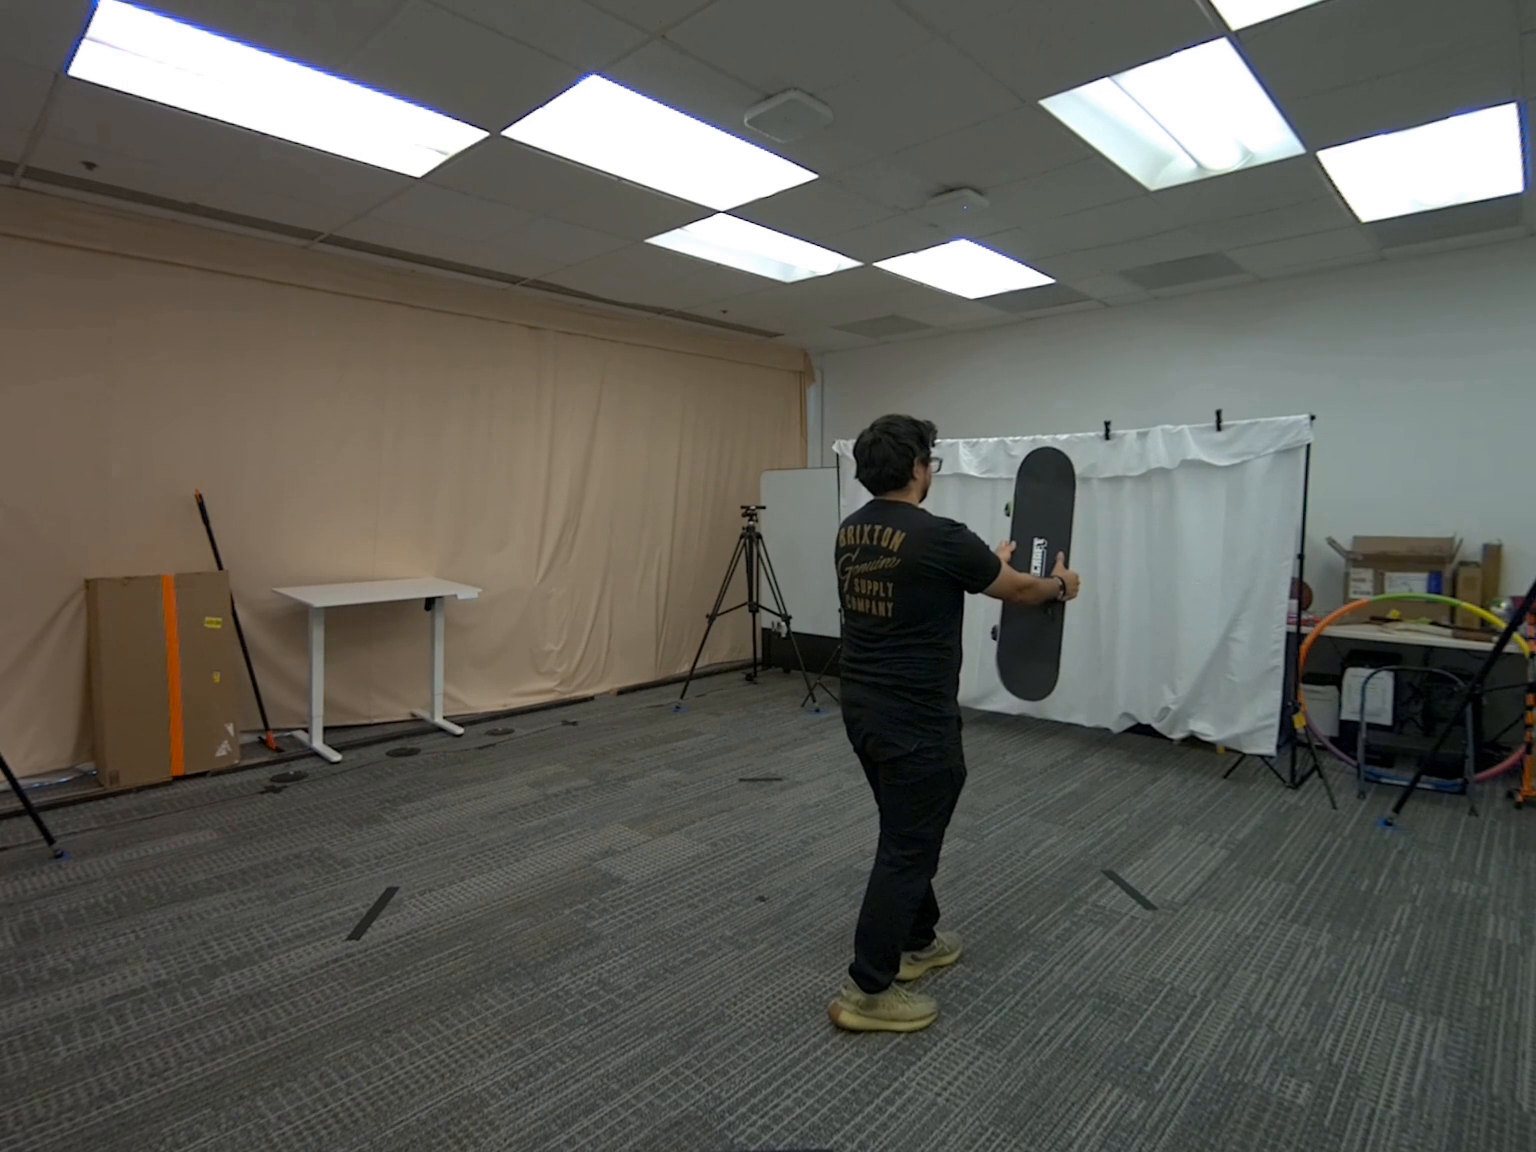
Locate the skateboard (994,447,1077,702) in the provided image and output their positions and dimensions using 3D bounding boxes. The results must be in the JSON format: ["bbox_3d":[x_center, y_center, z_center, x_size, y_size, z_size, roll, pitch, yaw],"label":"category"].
[{"bbox_3d":[0.812,-0.009,2.576,0.193,0.789,0.110,11,-12,0],"label":"skateboard"}]
